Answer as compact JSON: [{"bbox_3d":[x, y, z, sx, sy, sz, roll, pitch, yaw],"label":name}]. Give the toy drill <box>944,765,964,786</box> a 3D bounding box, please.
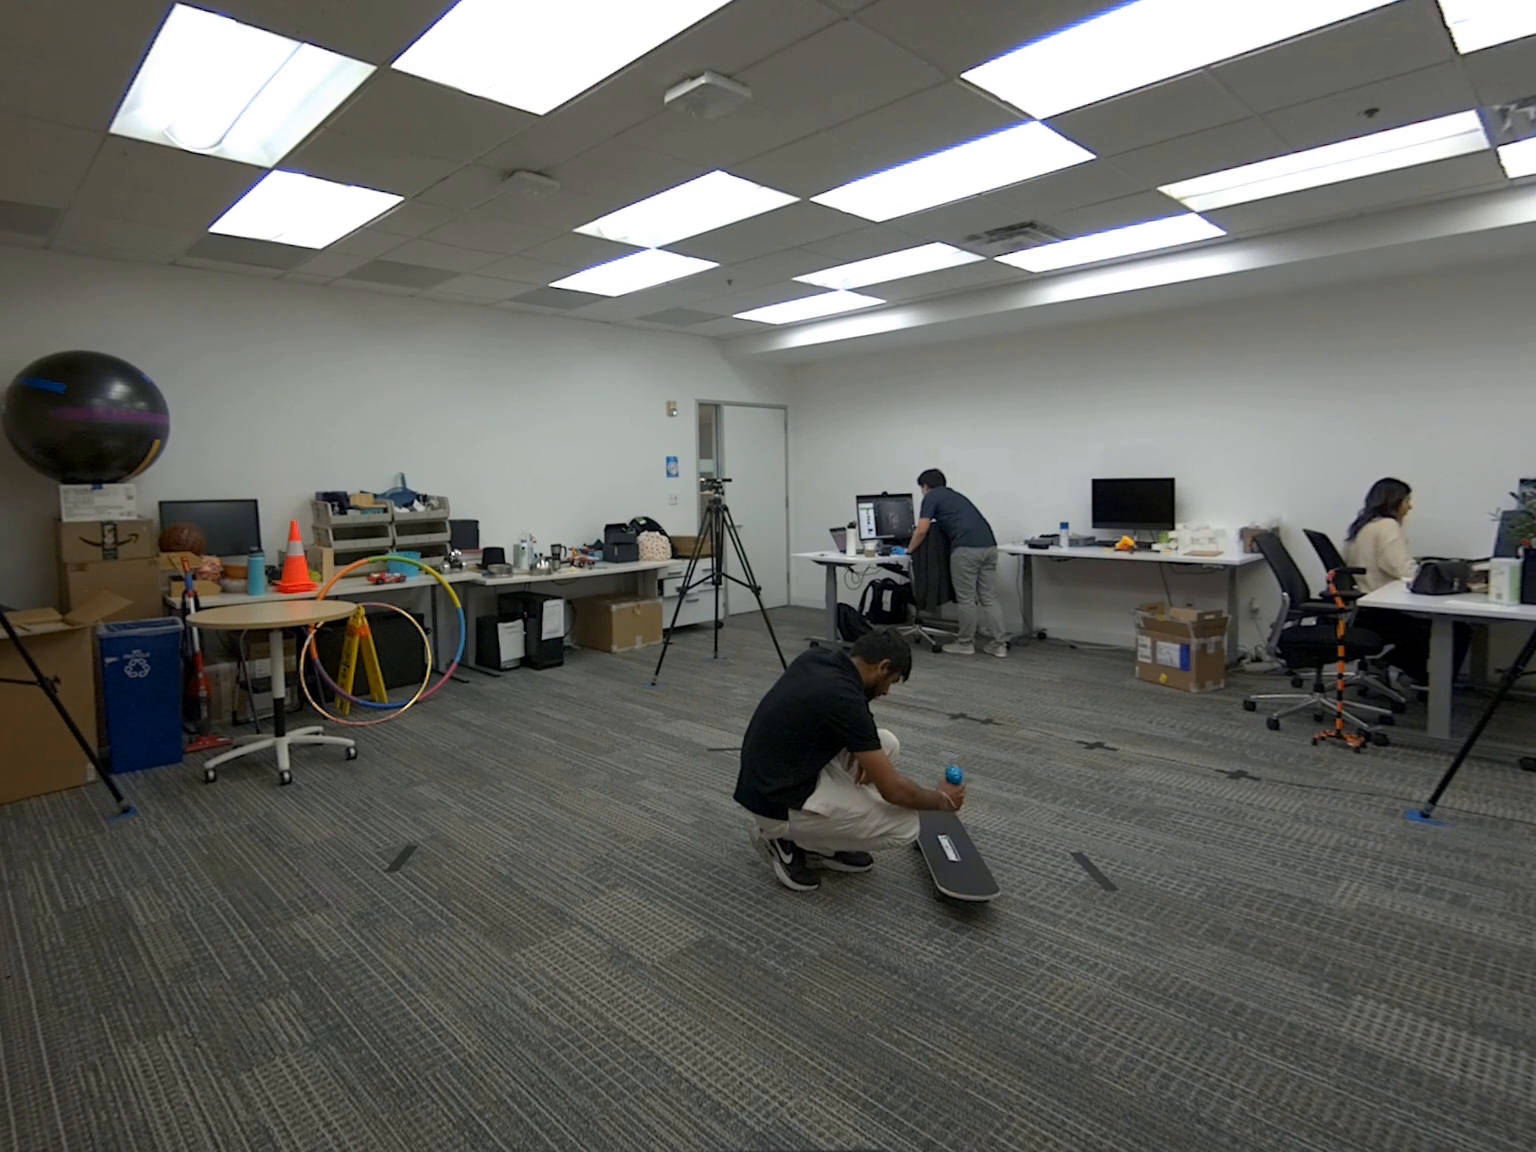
[{"bbox_3d":[0.656,0.740,3.053,0.062,0.145,0.169,15,8,5],"label":"toy drill"}]
